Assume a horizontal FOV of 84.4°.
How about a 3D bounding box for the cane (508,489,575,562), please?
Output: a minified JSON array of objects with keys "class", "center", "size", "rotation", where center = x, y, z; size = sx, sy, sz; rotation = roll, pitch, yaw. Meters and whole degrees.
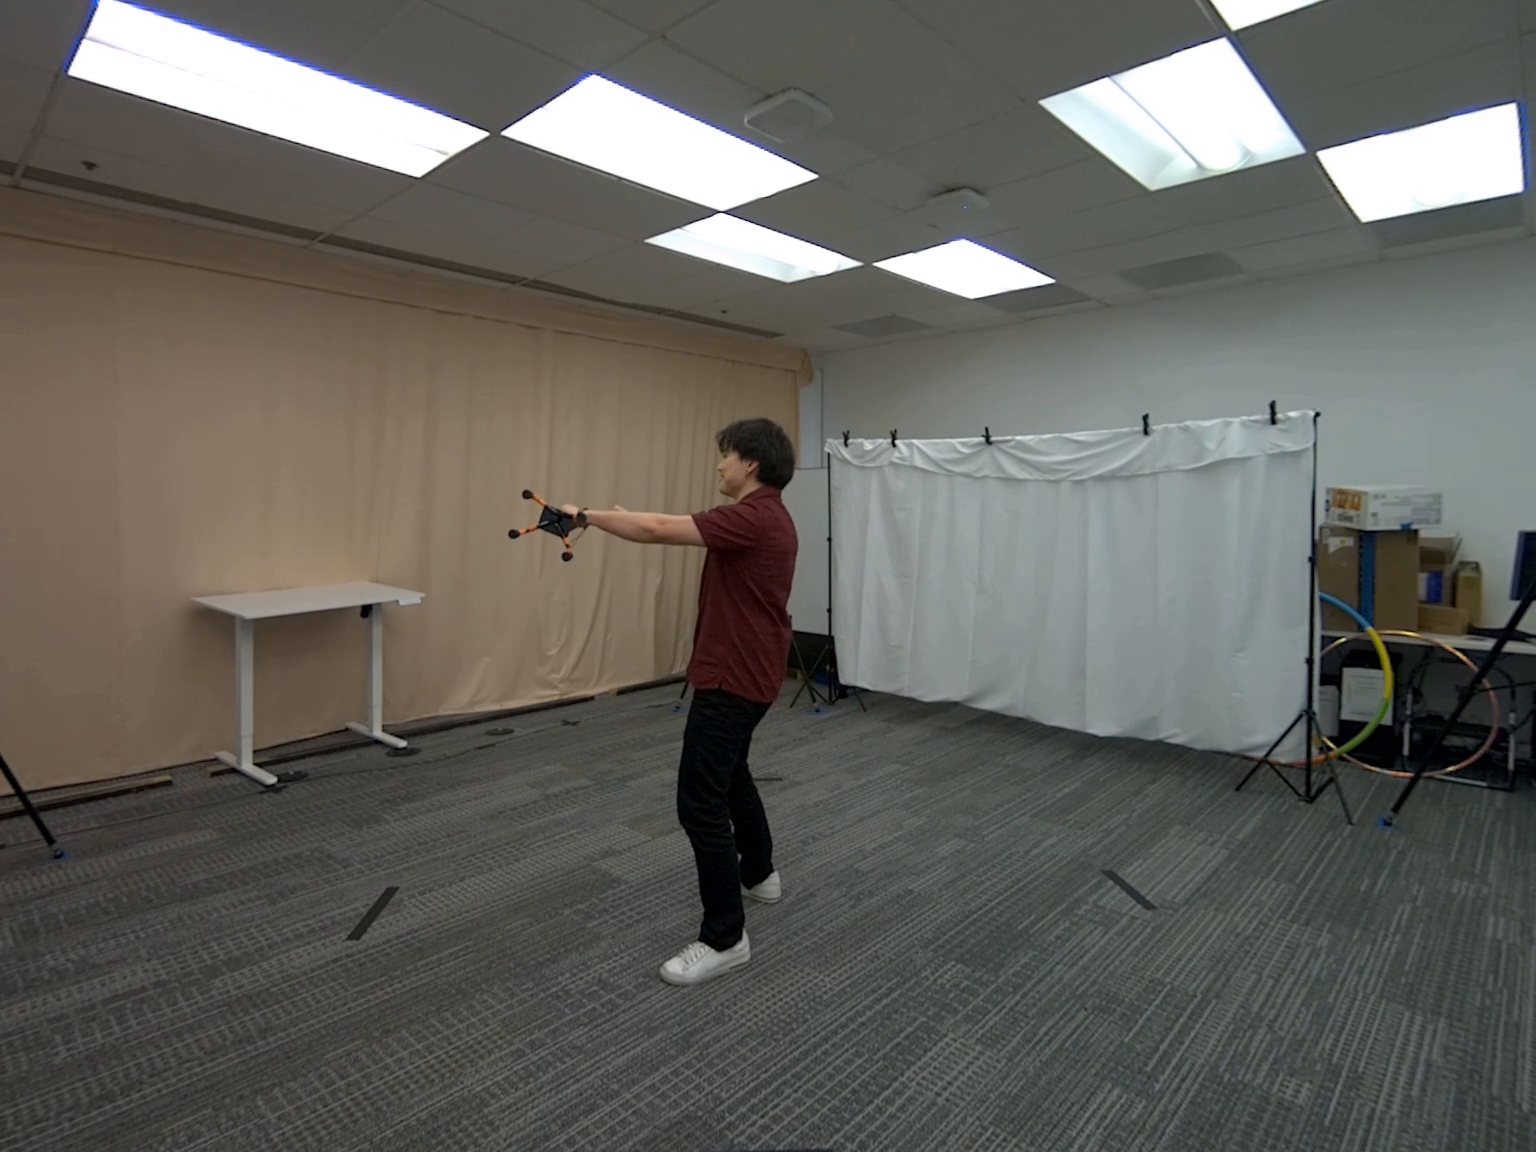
[{"class":"cane","center":[-0.593,-0.165,2.869],"size":[0.208,0.151,0.900],"rotation":[25,9,6]}]
